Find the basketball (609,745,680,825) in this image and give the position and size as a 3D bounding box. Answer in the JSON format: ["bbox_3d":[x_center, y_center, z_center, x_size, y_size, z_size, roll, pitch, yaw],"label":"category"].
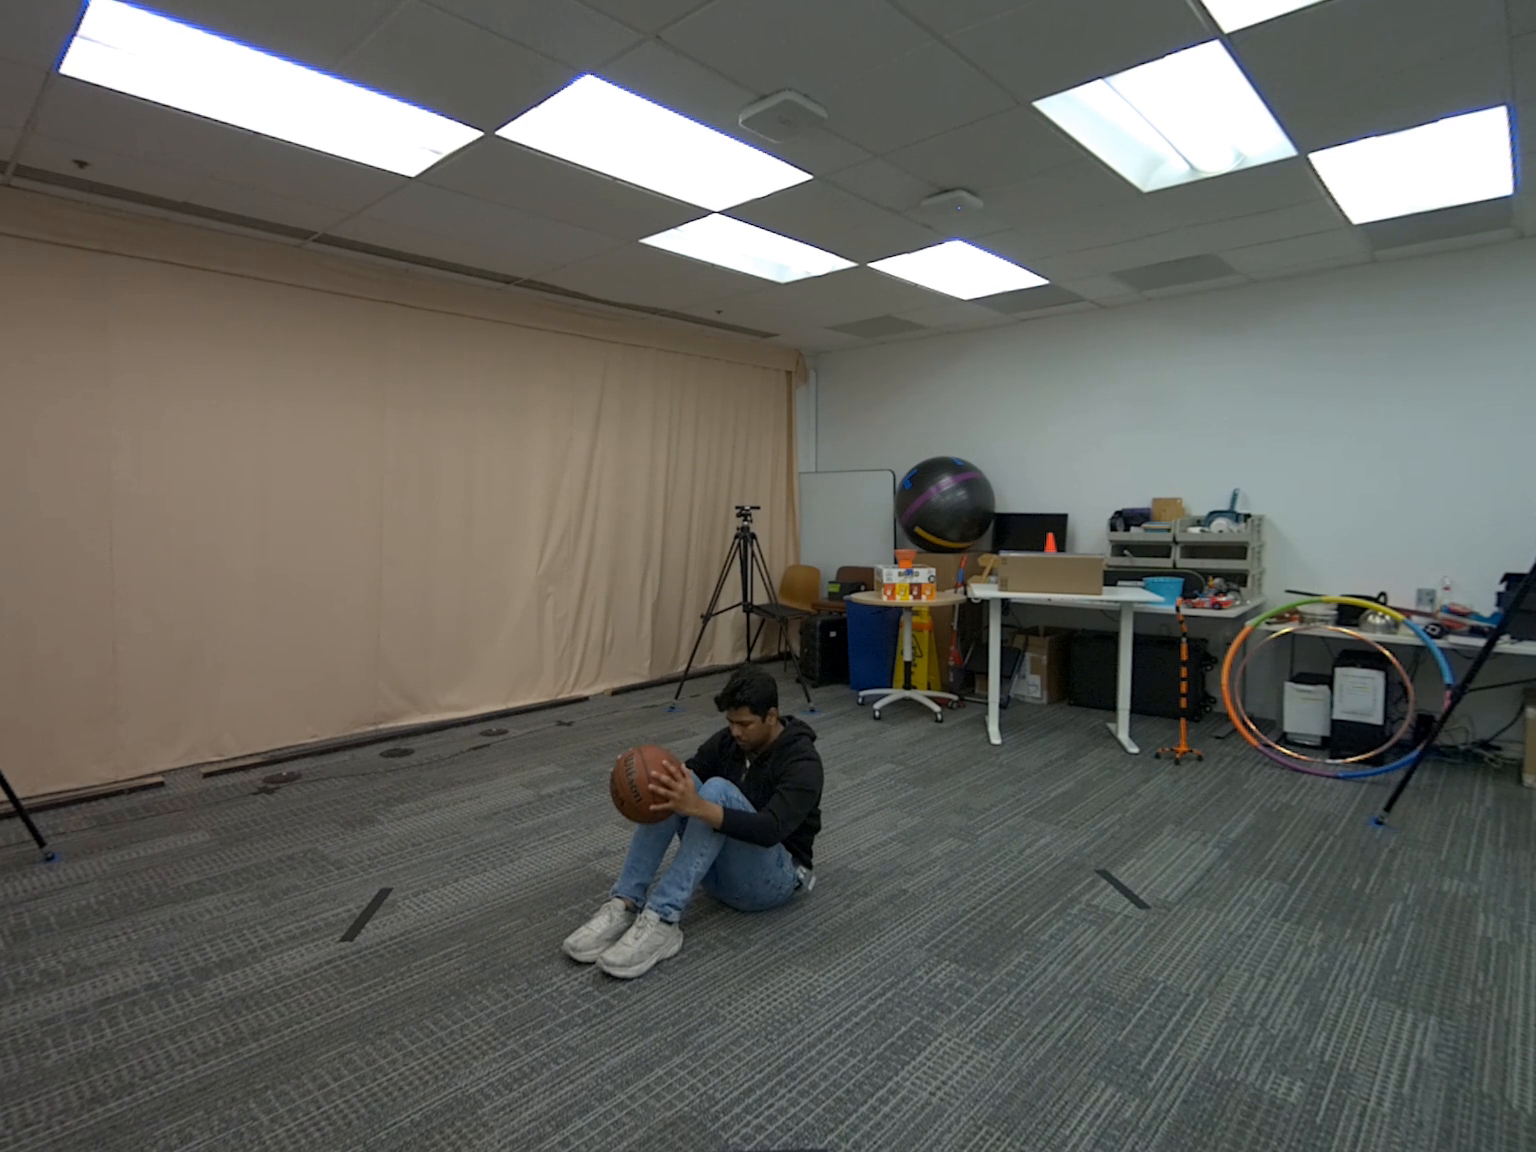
[{"bbox_3d":[-0.367,0.659,2.638,0.236,0.235,0.237,0,4,-2],"label":"basketball"}]
